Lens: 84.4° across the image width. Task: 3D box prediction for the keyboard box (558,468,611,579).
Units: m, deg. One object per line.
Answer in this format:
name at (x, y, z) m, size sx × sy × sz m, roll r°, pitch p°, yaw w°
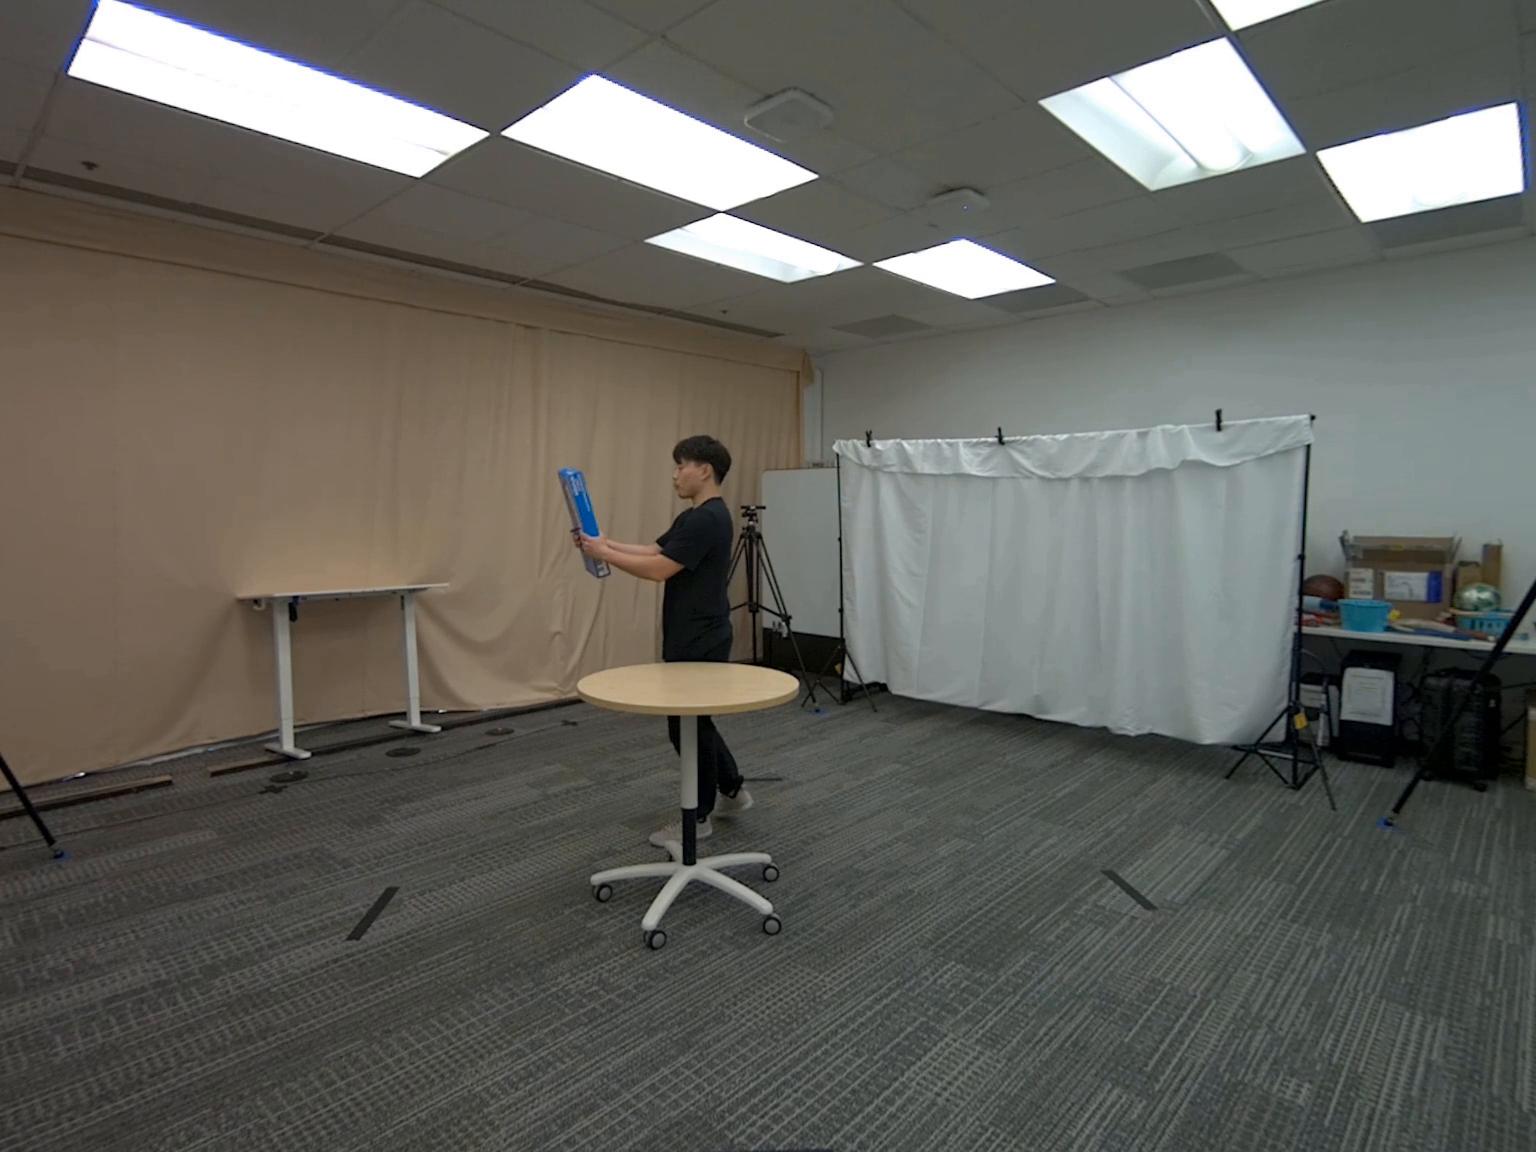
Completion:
keyboard box at (-0.737, -0.210, 3.406) m, size 0.058 × 0.430 × 0.181 m, roll -20°, pitch 20°, yaw -21°
